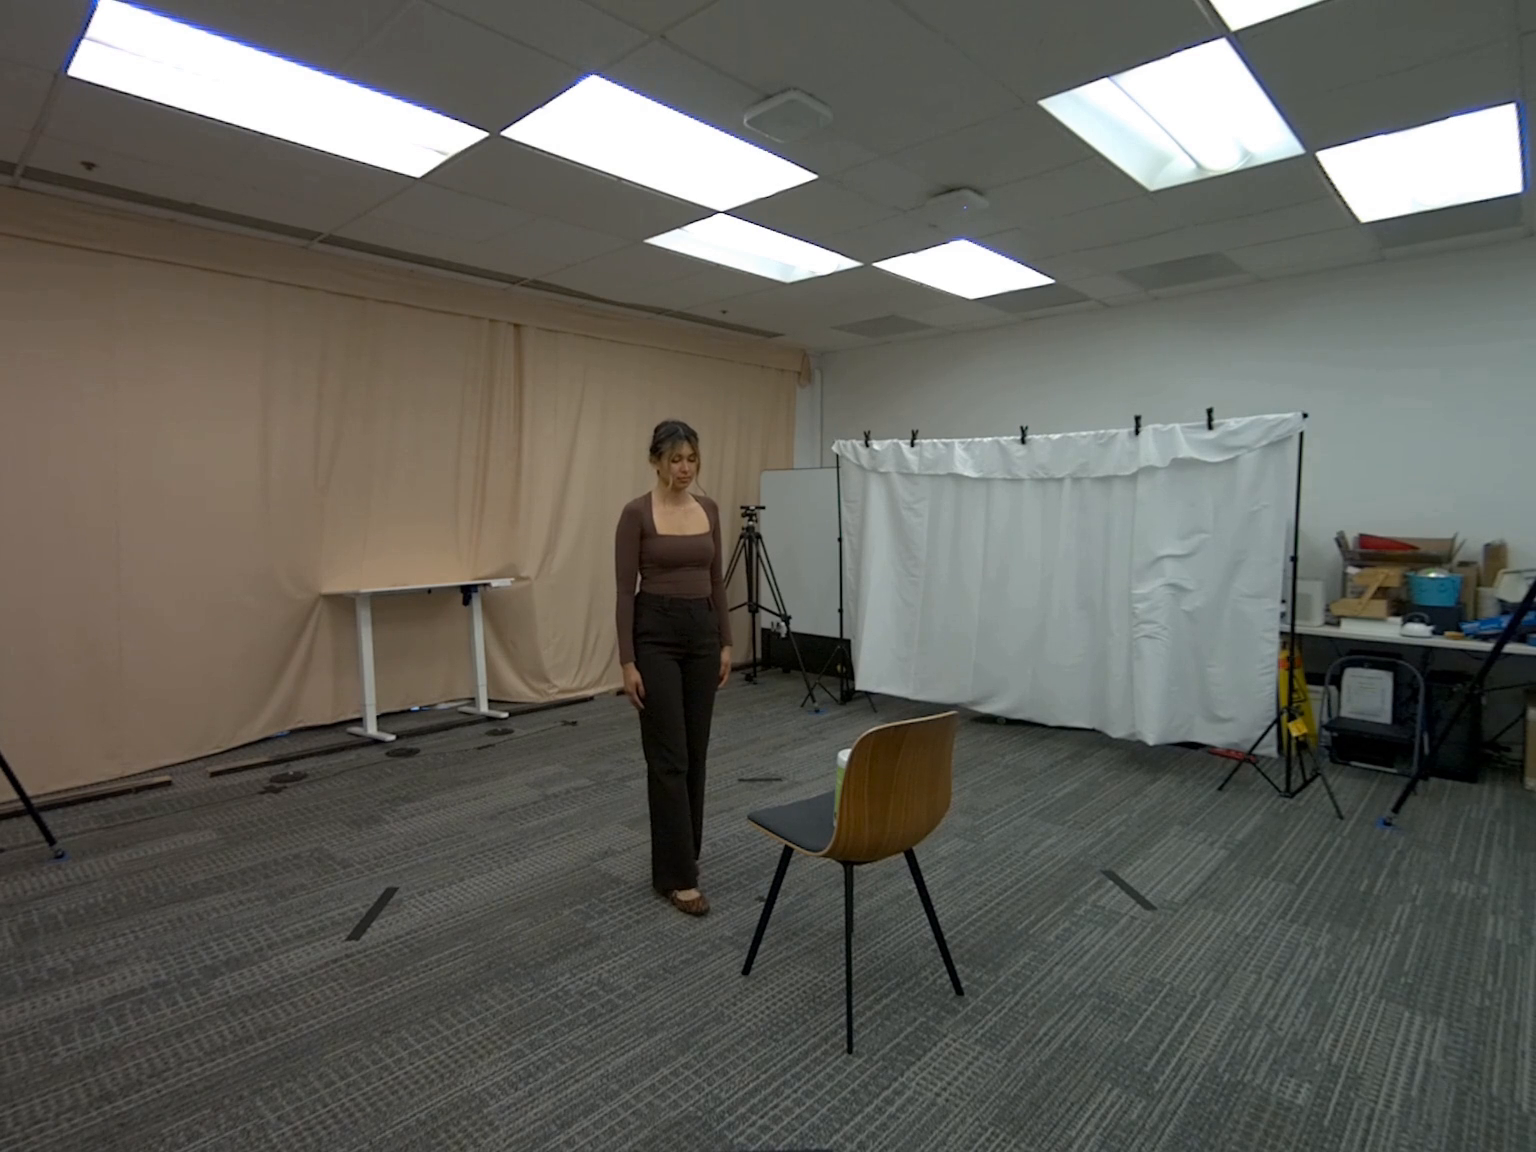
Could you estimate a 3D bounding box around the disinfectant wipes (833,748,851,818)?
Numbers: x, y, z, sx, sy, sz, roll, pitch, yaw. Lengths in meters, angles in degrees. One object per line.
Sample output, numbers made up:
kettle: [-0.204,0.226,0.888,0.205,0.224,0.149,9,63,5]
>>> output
disinfectant wipes: [0.264,0.619,2.390,0.117,0.216,0.118,3,7,-2]
